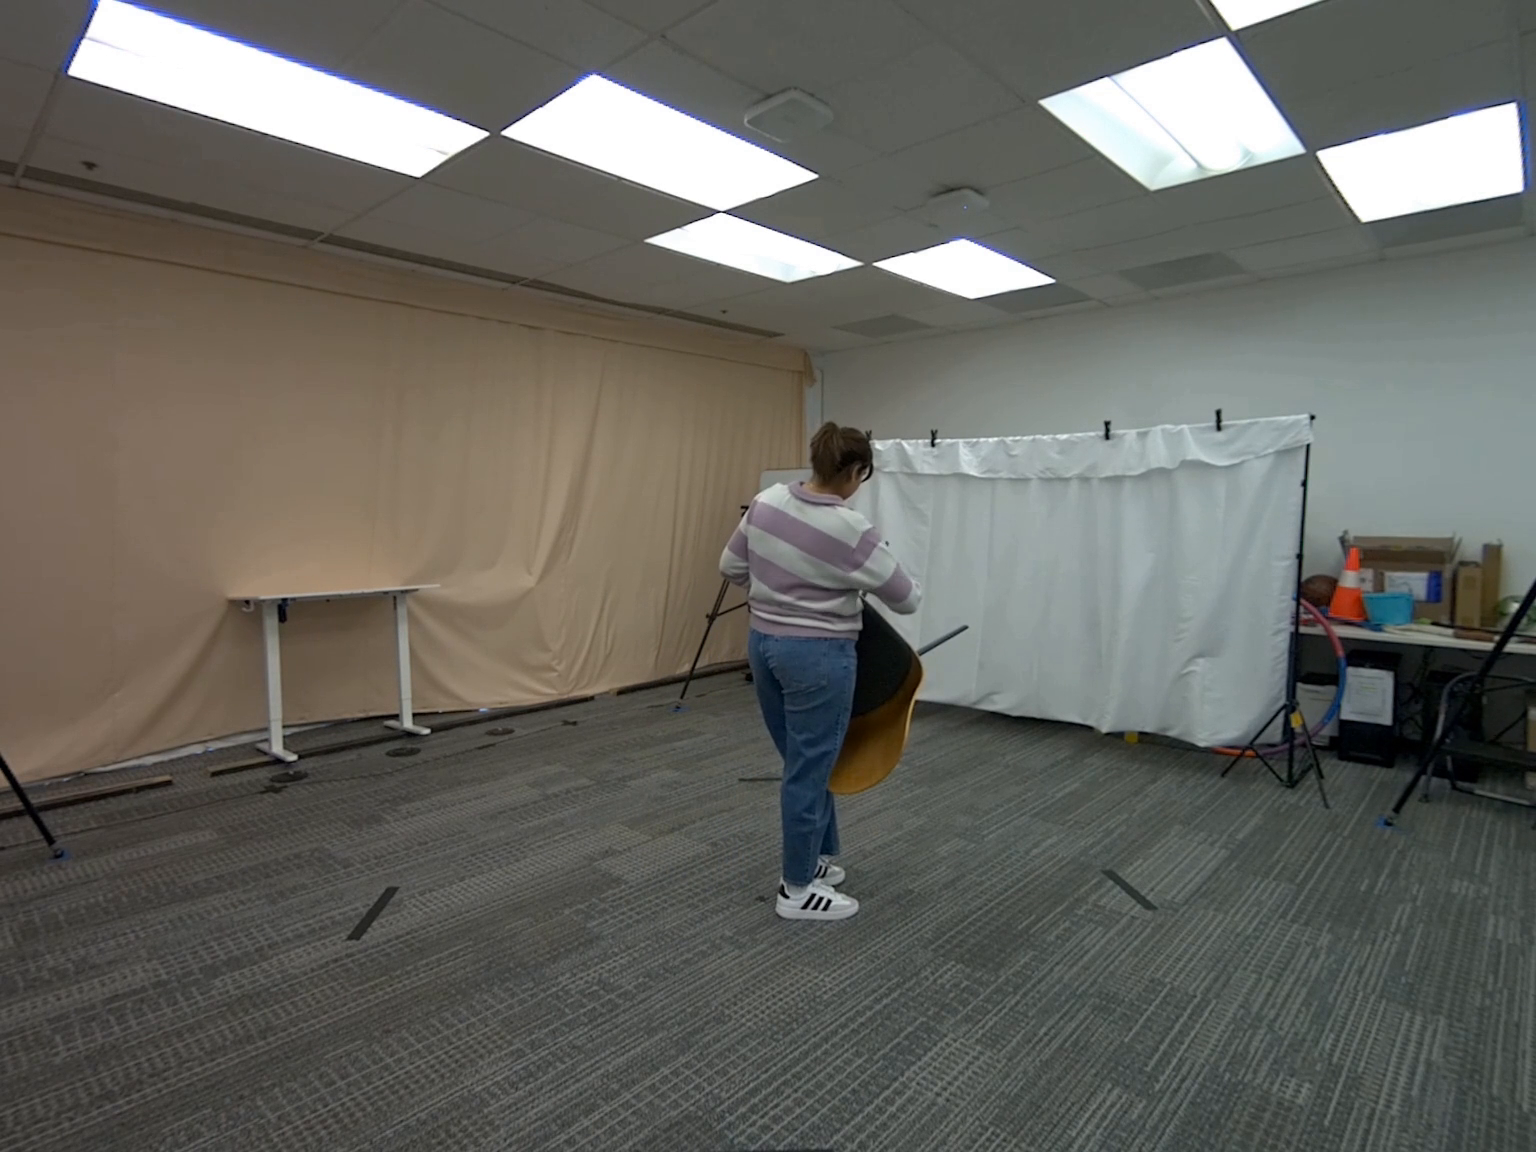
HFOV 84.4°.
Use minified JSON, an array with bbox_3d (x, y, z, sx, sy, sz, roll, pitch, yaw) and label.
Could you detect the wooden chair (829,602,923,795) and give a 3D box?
[{"bbox_3d":[0.320,0.310,3.031,0.482,0.524,0.870,-46,0,33],"label":"wooden chair"}]
